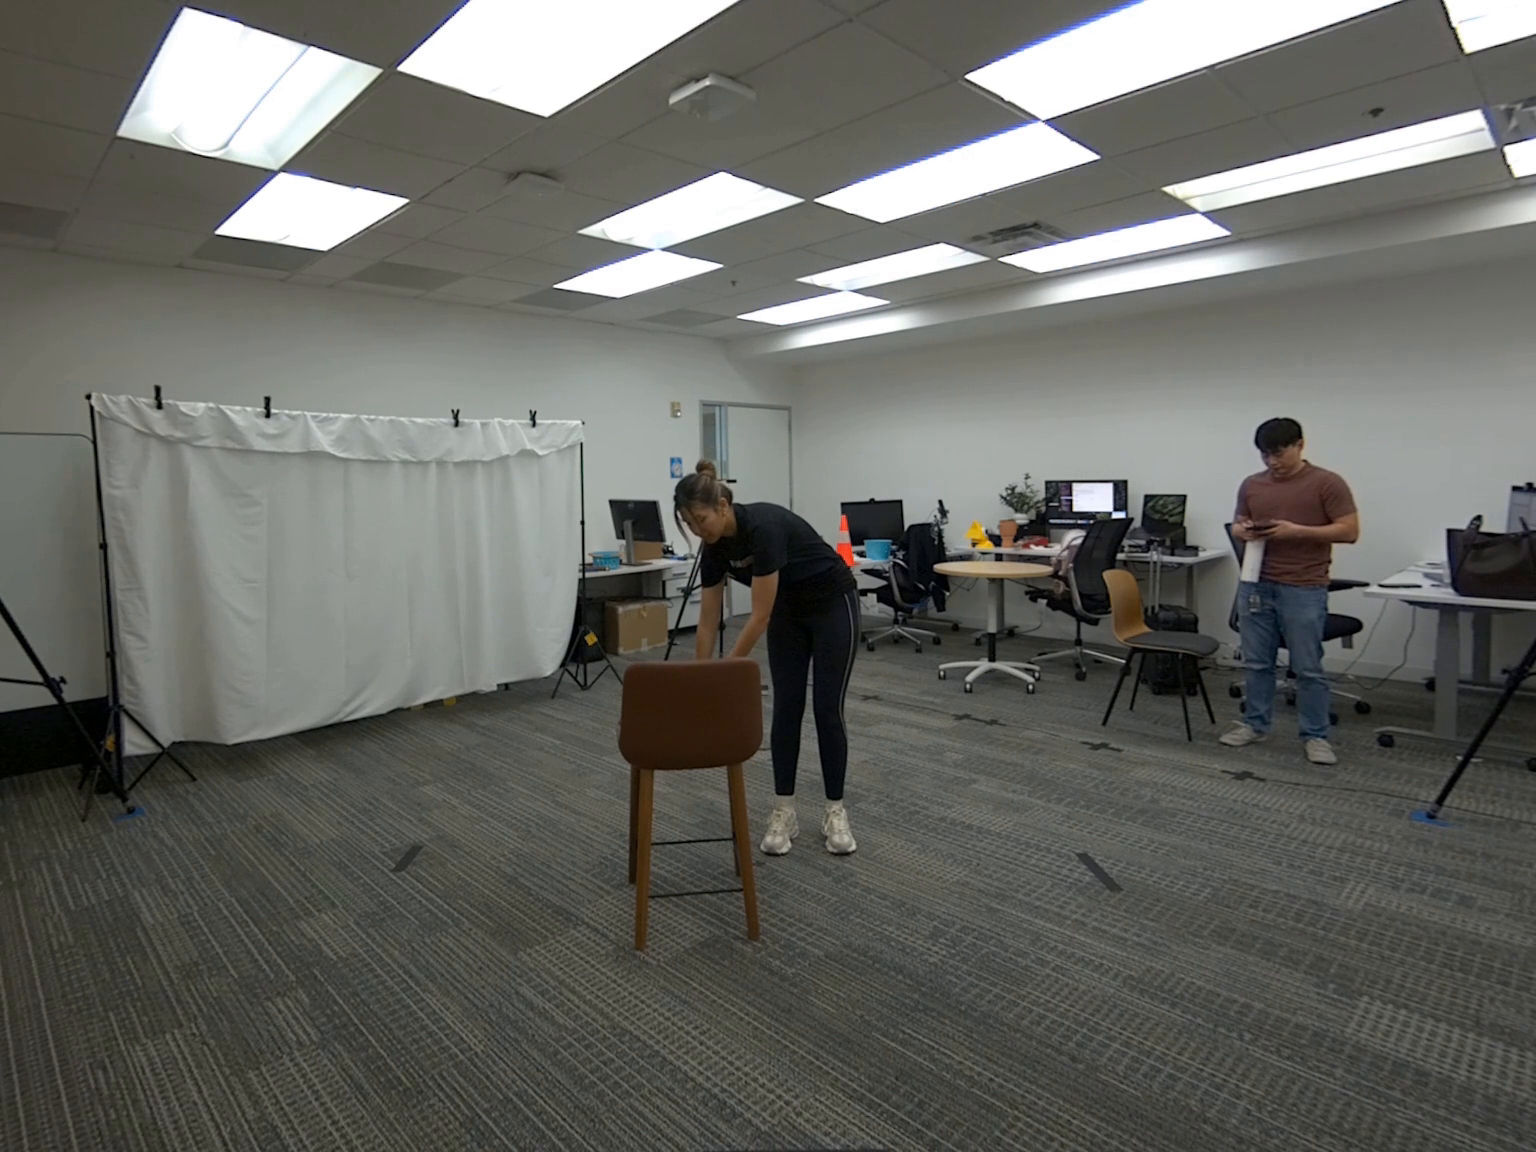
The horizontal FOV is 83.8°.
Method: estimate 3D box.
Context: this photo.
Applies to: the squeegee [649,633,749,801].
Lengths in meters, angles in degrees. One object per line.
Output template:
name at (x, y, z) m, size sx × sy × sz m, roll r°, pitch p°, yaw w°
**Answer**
squeegee at (-0.321, 0.621, 3.418) m, size 0.052 × 0.445 × 1.519 m, roll -33°, pitch -12°, yaw -18°
